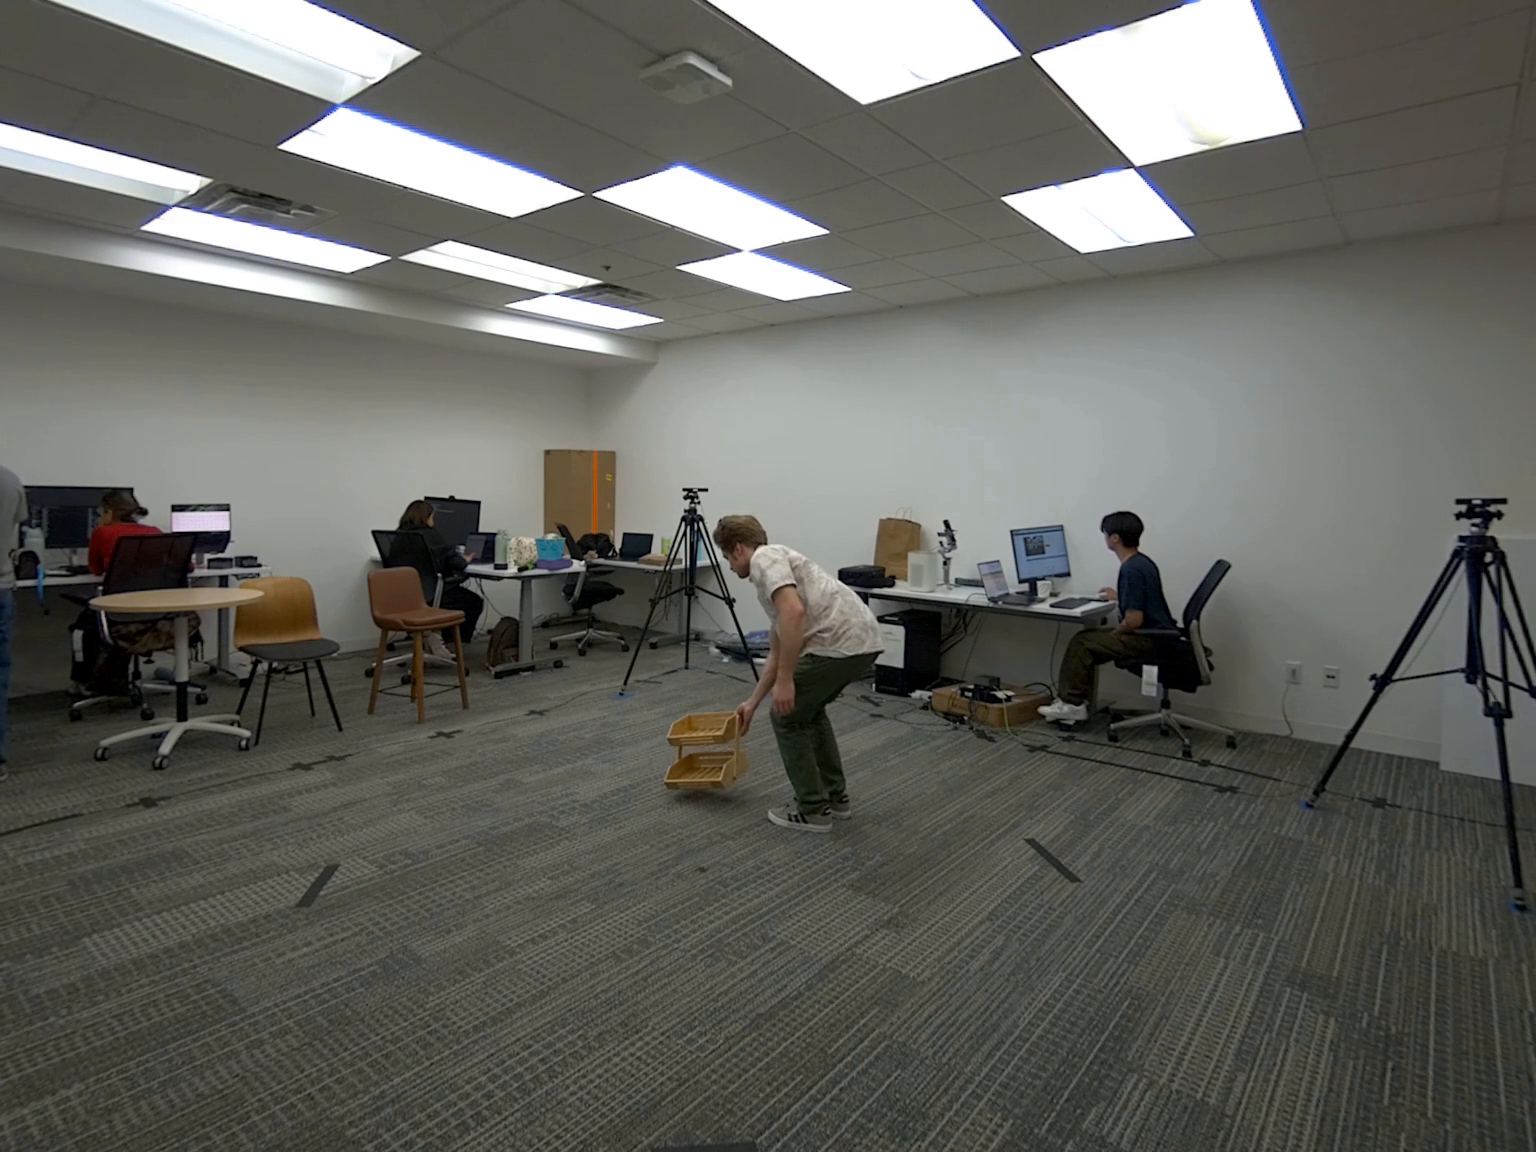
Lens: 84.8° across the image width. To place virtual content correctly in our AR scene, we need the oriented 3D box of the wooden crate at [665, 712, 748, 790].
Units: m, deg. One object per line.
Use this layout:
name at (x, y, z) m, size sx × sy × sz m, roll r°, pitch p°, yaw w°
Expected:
wooden crate at (-0.301, 0.781, 3.858) m, size 0.332 × 0.273 × 0.296 m, roll -9°, pitch 3°, yaw 28°
